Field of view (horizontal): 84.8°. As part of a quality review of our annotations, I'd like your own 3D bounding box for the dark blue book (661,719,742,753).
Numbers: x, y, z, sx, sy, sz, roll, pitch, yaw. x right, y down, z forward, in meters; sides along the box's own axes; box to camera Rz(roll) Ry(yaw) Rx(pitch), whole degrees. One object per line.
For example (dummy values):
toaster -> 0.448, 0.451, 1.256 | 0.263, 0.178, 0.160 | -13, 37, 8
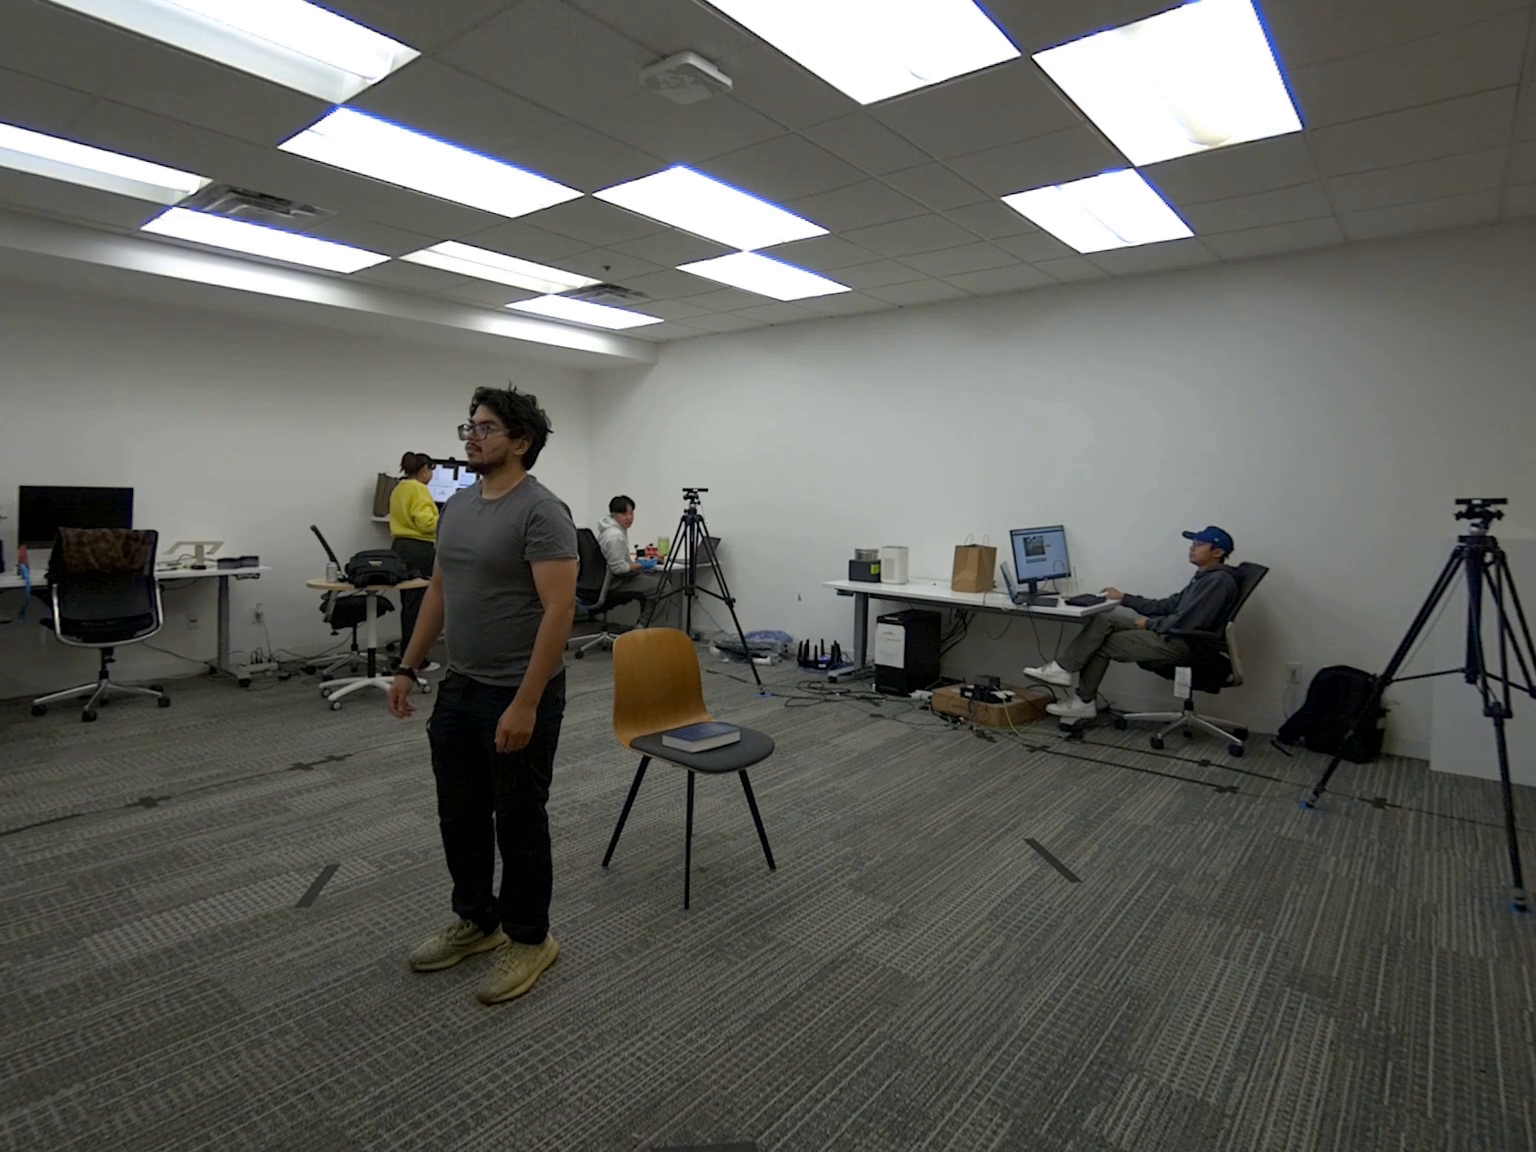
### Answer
dark blue book -> -0.239, 0.571, 3.027 | 0.169, 0.045, 0.238 | 2, 5, 41
